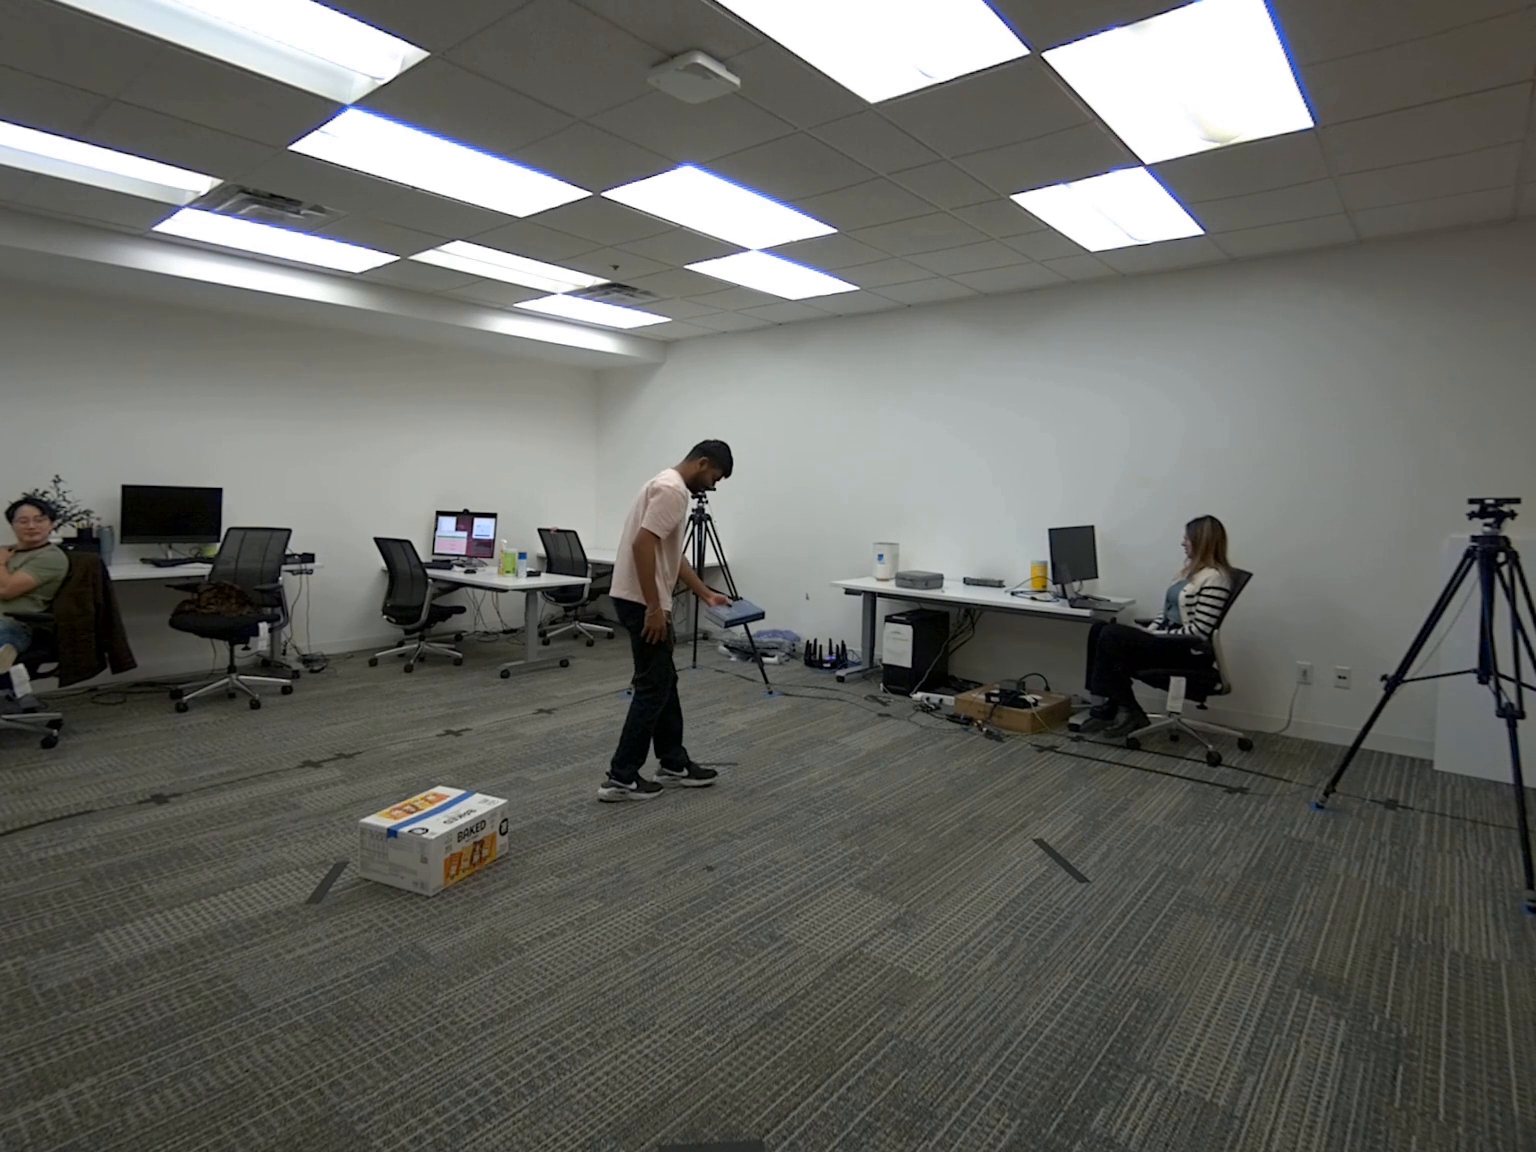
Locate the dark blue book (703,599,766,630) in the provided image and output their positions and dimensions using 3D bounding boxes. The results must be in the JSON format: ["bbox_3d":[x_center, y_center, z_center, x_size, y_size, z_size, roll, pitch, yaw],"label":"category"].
[{"bbox_3d":[-0.167,0.185,4.040,0.239,0.044,0.170,-13,26,-38],"label":"dark blue book"}]
